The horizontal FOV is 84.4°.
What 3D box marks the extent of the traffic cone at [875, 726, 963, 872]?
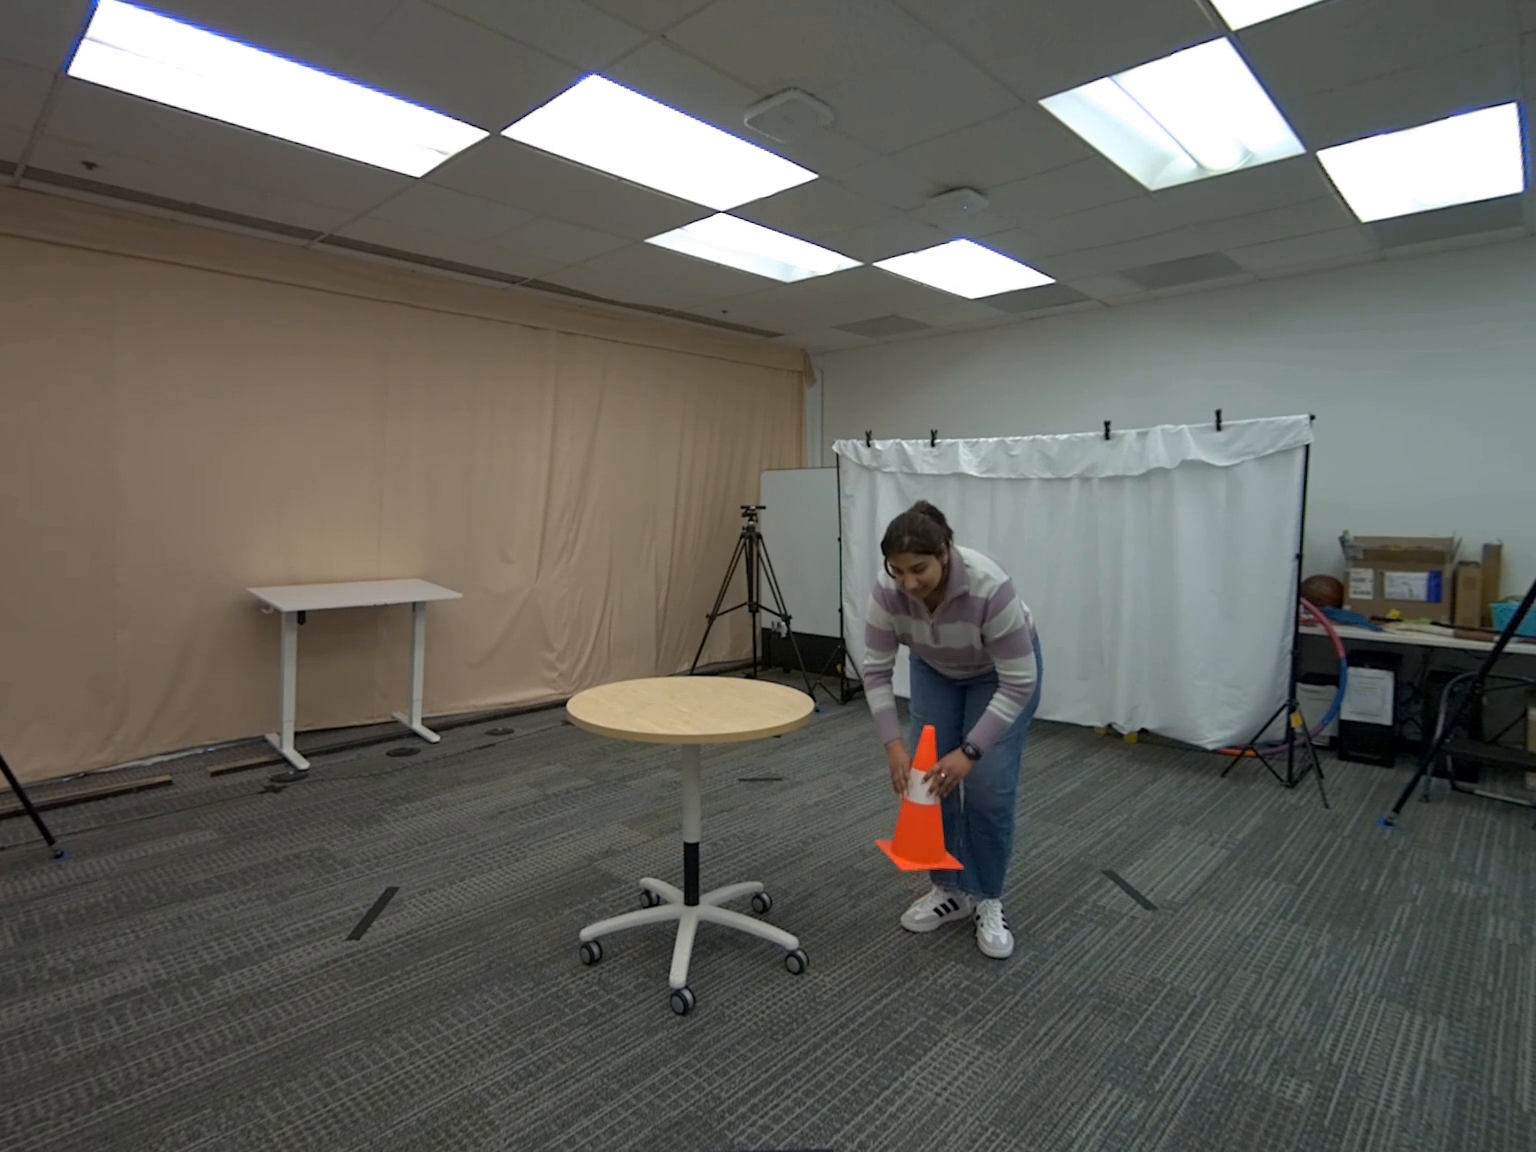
[{"bbox_3d":[0.467,0.636,2.459,0.200,0.383,0.208,3,2,-15],"label":"traffic cone"}]
